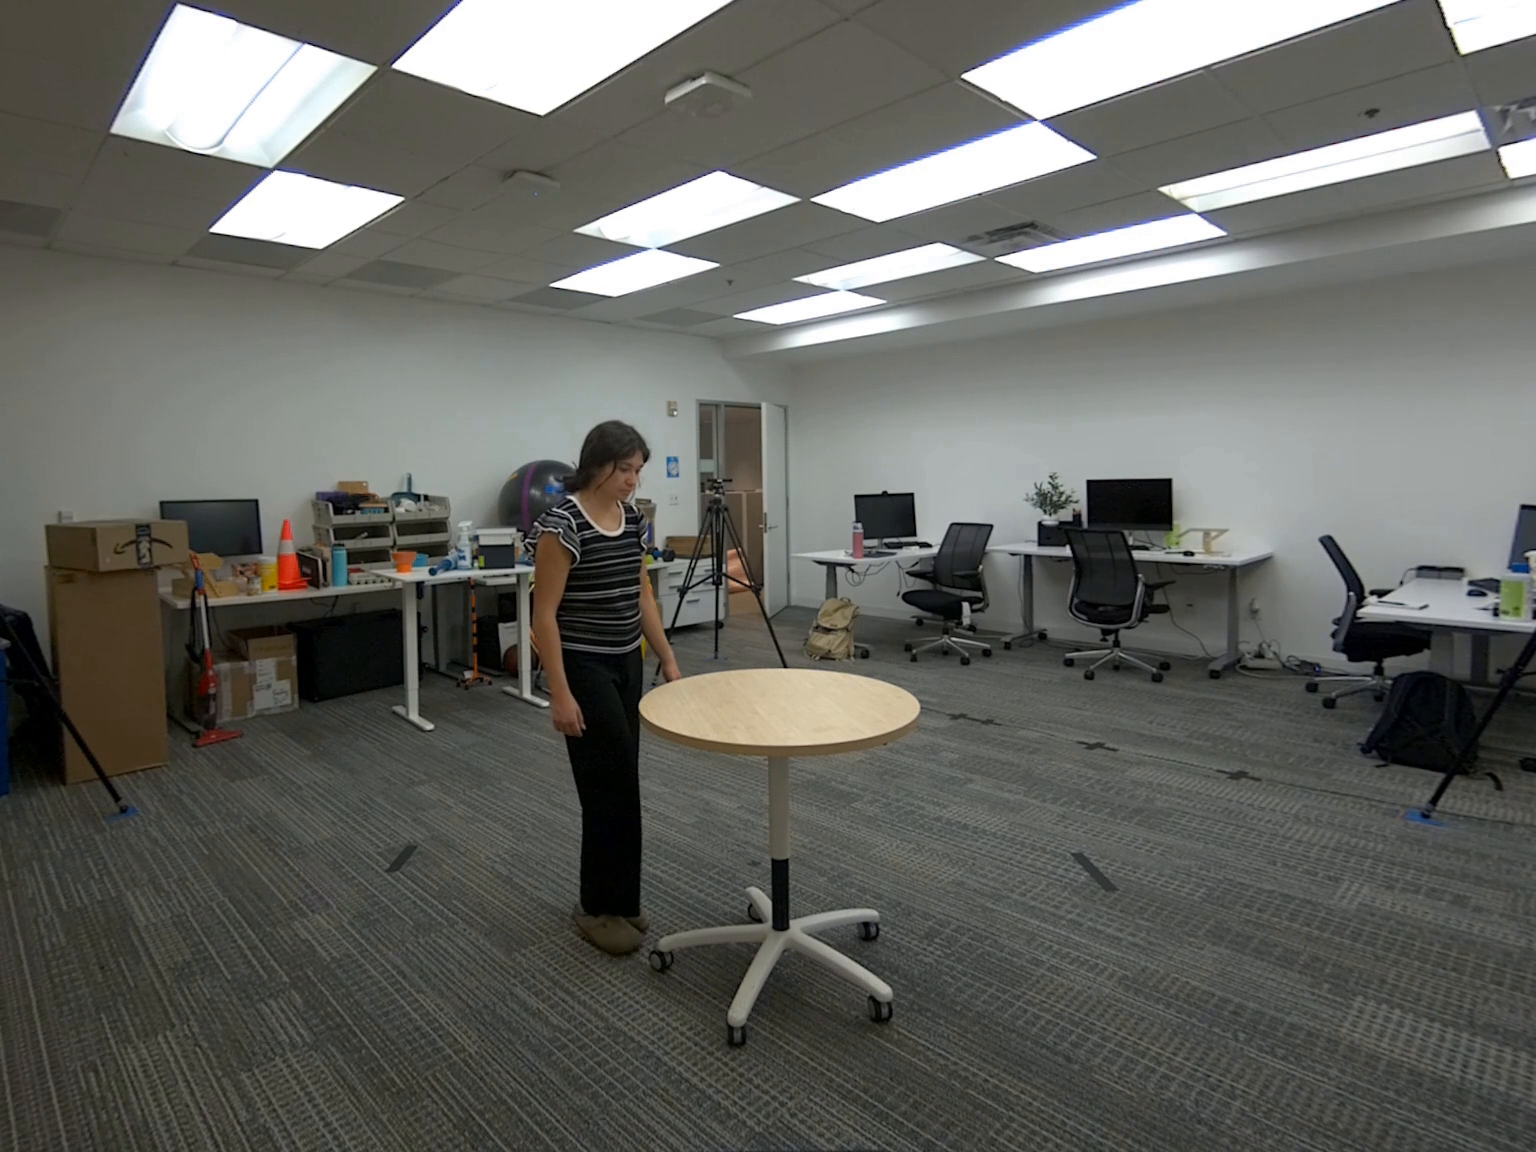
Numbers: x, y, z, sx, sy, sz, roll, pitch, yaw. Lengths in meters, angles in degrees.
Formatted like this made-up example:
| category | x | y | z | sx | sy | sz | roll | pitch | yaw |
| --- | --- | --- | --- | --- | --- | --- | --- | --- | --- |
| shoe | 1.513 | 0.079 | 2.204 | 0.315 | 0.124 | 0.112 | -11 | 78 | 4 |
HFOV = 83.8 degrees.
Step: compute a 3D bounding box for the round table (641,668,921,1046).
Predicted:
| category | x | y | z | sx | sy | sz | roll | pitch | yaw |
| --- | --- | --- | --- | --- | --- | --- | --- | --- | --- |
| round table | 0.047 | 0.739 | 2.377 | 0.763 | 0.790 | 0.768 | -1 | 6 | -2 |
